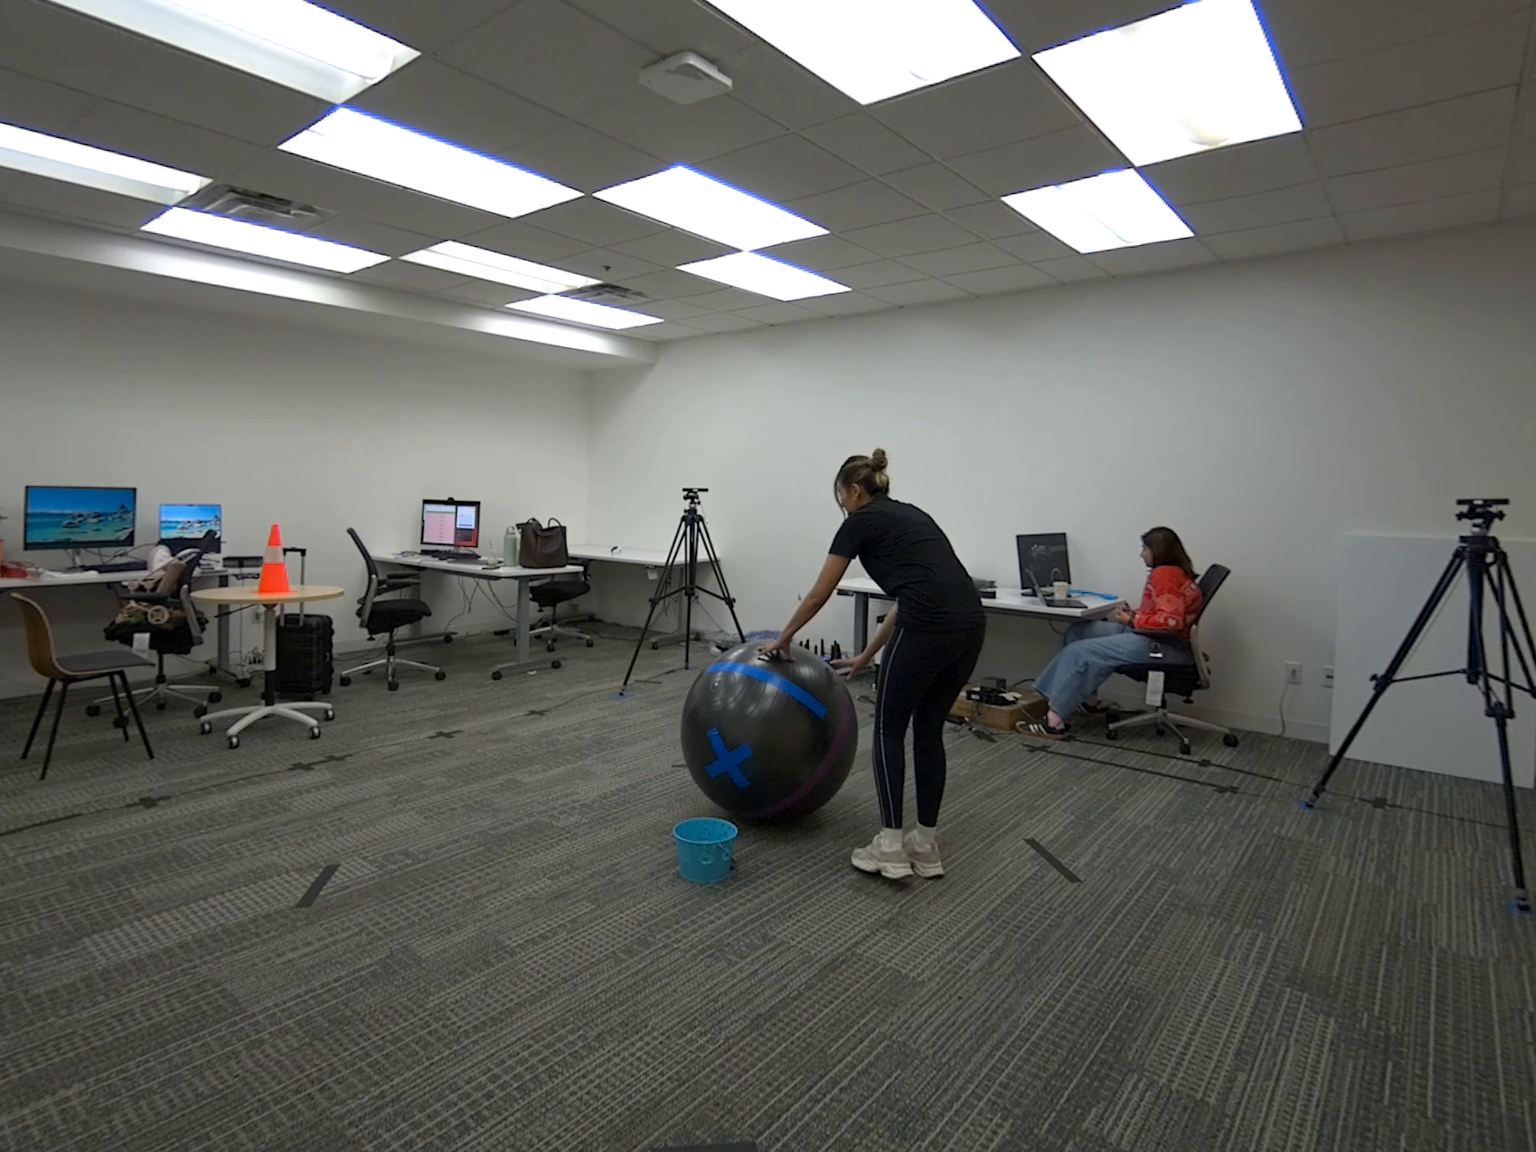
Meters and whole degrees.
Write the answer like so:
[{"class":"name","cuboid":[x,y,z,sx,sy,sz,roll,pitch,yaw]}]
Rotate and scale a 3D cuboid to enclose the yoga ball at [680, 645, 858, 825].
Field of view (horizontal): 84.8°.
[{"class":"yoga ball","cuboid":[-0.003,0.659,3.632,0.757,0.755,0.762,1,4,-2]}]
